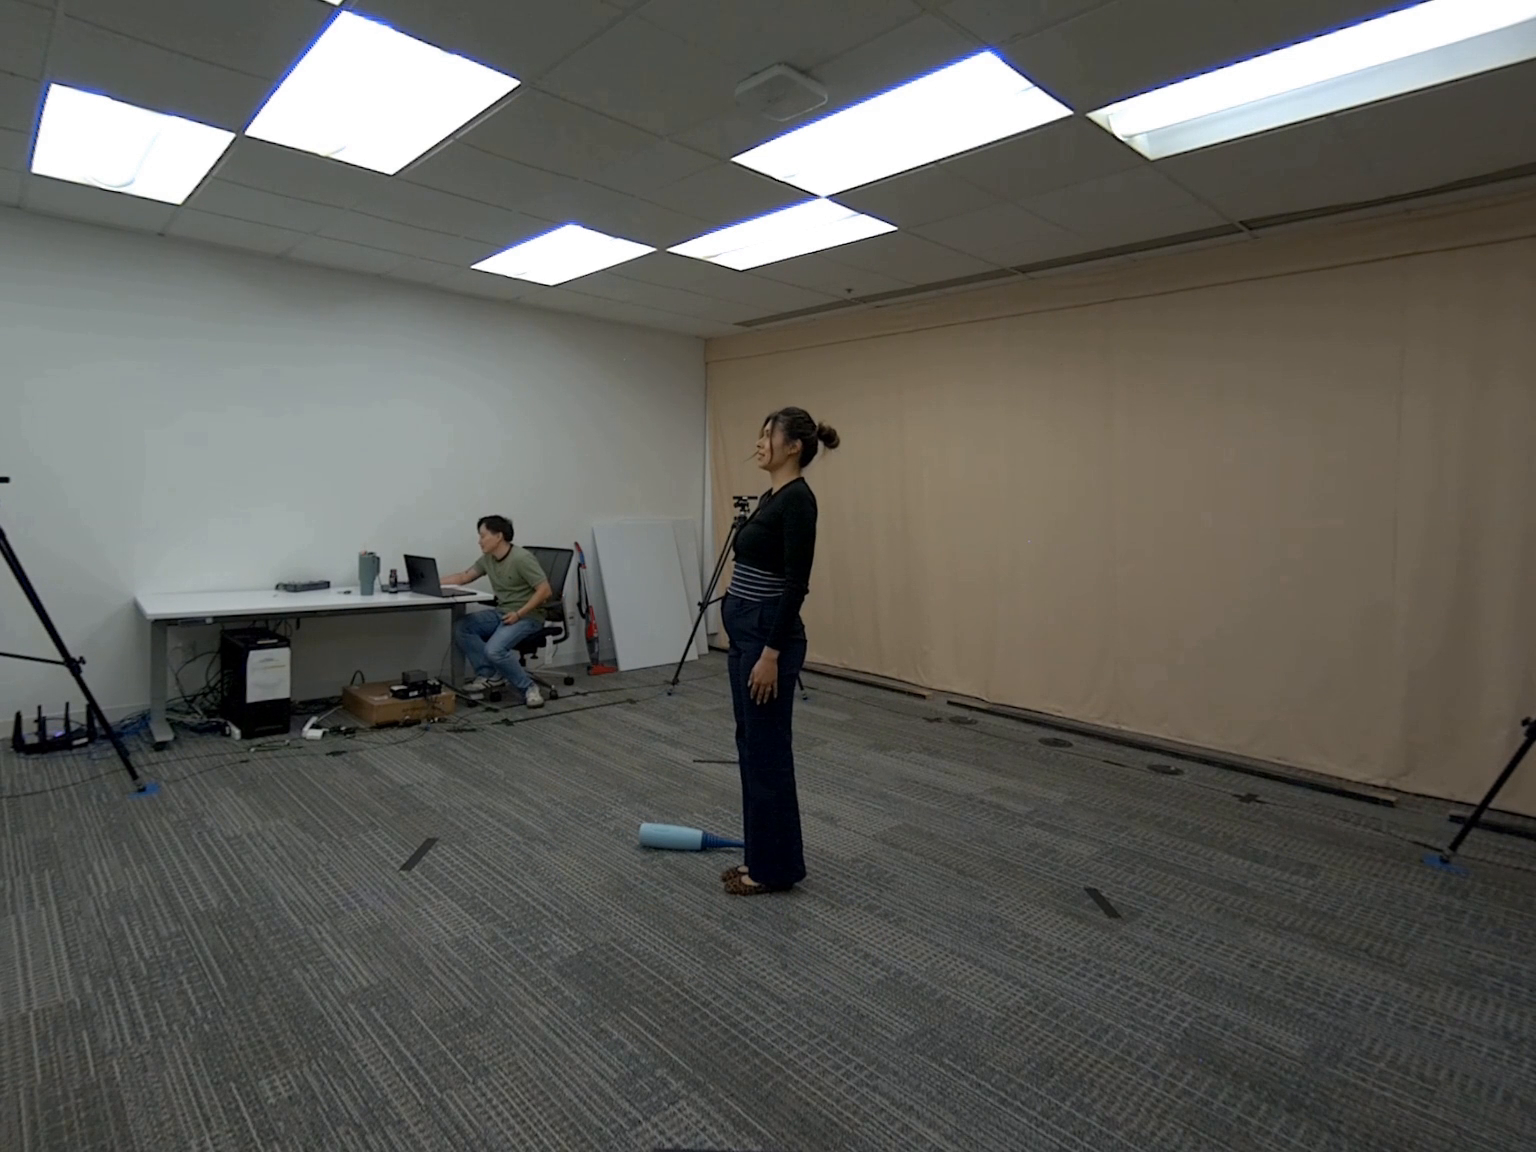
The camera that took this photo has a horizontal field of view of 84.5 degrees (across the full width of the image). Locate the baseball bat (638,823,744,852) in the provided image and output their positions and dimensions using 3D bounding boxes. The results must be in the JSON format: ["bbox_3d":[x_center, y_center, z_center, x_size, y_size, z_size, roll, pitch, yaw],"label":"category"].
[{"bbox_3d":[-0.250,1.049,3.319,0.544,0.089,0.089,5,4,1],"label":"baseball bat"}]
